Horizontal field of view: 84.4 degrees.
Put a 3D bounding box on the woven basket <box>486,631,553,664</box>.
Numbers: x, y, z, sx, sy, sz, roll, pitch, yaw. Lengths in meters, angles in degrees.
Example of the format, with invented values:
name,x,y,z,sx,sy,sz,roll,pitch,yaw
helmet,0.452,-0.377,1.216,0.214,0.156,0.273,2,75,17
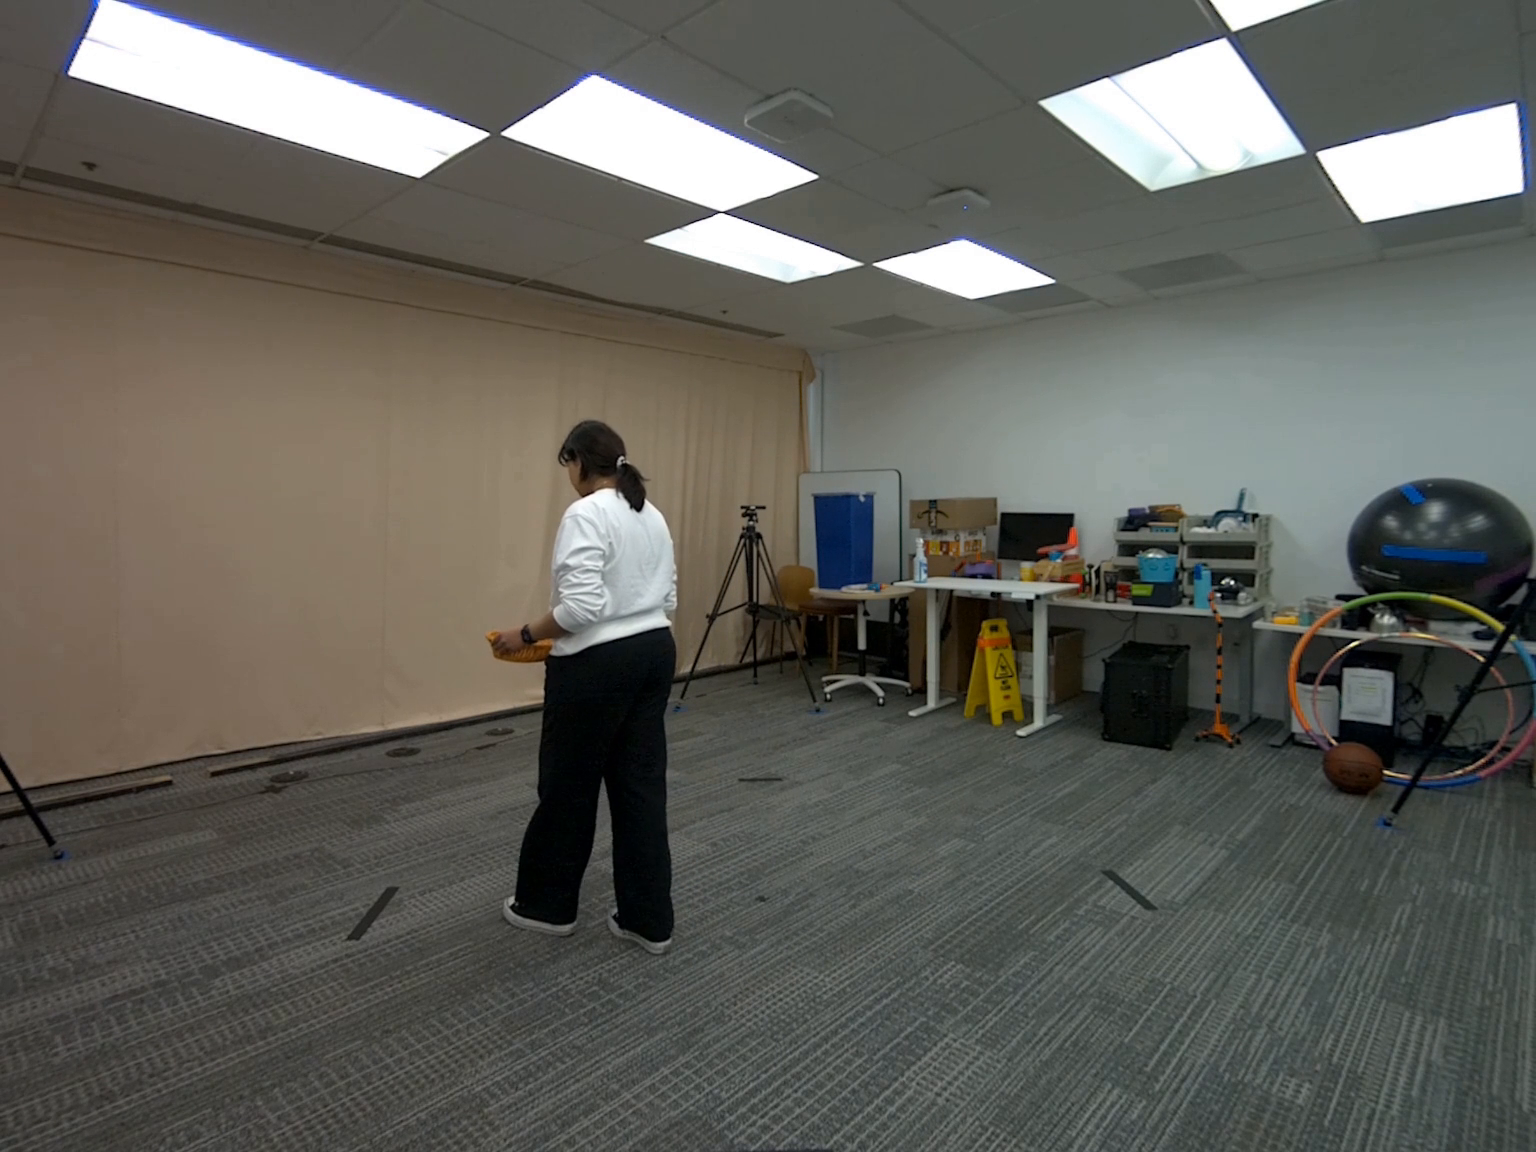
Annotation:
name,x,y,z,sx,sy,sz,roll,pitch,yaw
woven basket,-0.775,0.239,2.804,0.260,0.073,0.340,5,2,32
